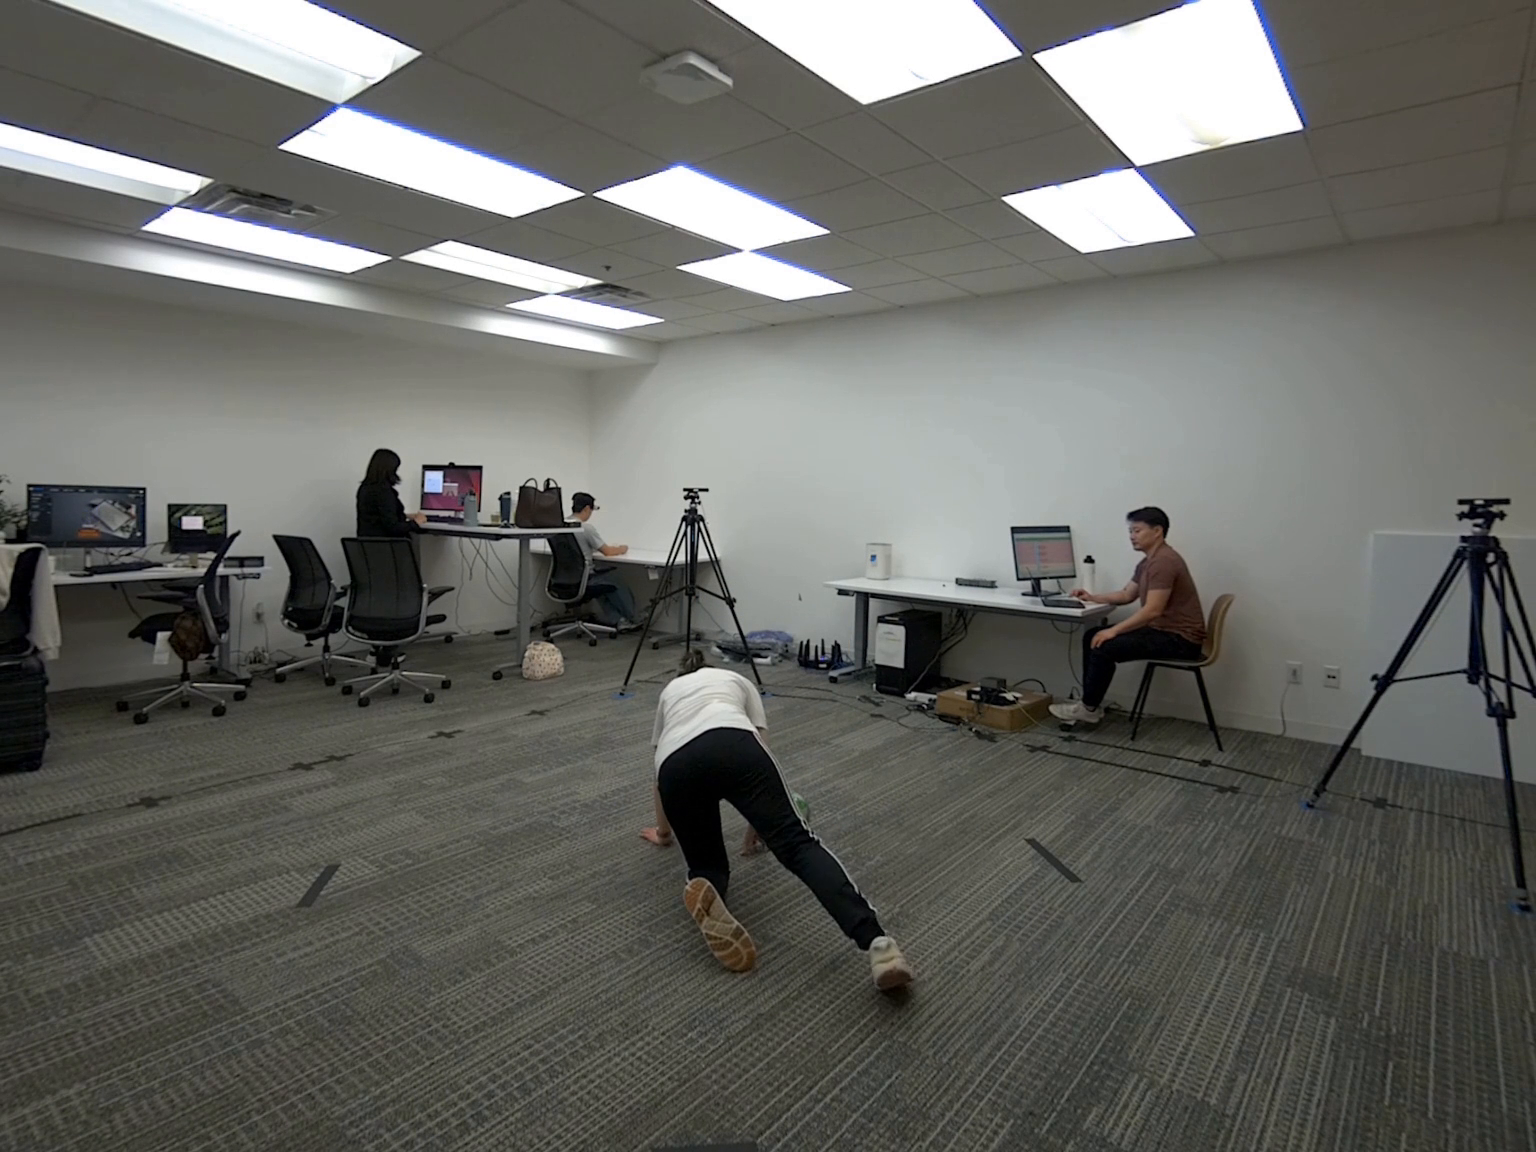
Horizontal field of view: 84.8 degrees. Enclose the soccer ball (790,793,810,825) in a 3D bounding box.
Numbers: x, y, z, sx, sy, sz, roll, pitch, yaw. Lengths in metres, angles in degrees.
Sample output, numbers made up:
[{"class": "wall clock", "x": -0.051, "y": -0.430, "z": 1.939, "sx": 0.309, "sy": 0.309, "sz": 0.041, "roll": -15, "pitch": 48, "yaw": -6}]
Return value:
[{"class": "soccer ball", "x": 0.081, "y": 0.949, "z": 3.408, "sx": 0.187, "sy": 0.187, "sz": 0.188, "roll": 1, "pitch": 4, "yaw": -2}]
